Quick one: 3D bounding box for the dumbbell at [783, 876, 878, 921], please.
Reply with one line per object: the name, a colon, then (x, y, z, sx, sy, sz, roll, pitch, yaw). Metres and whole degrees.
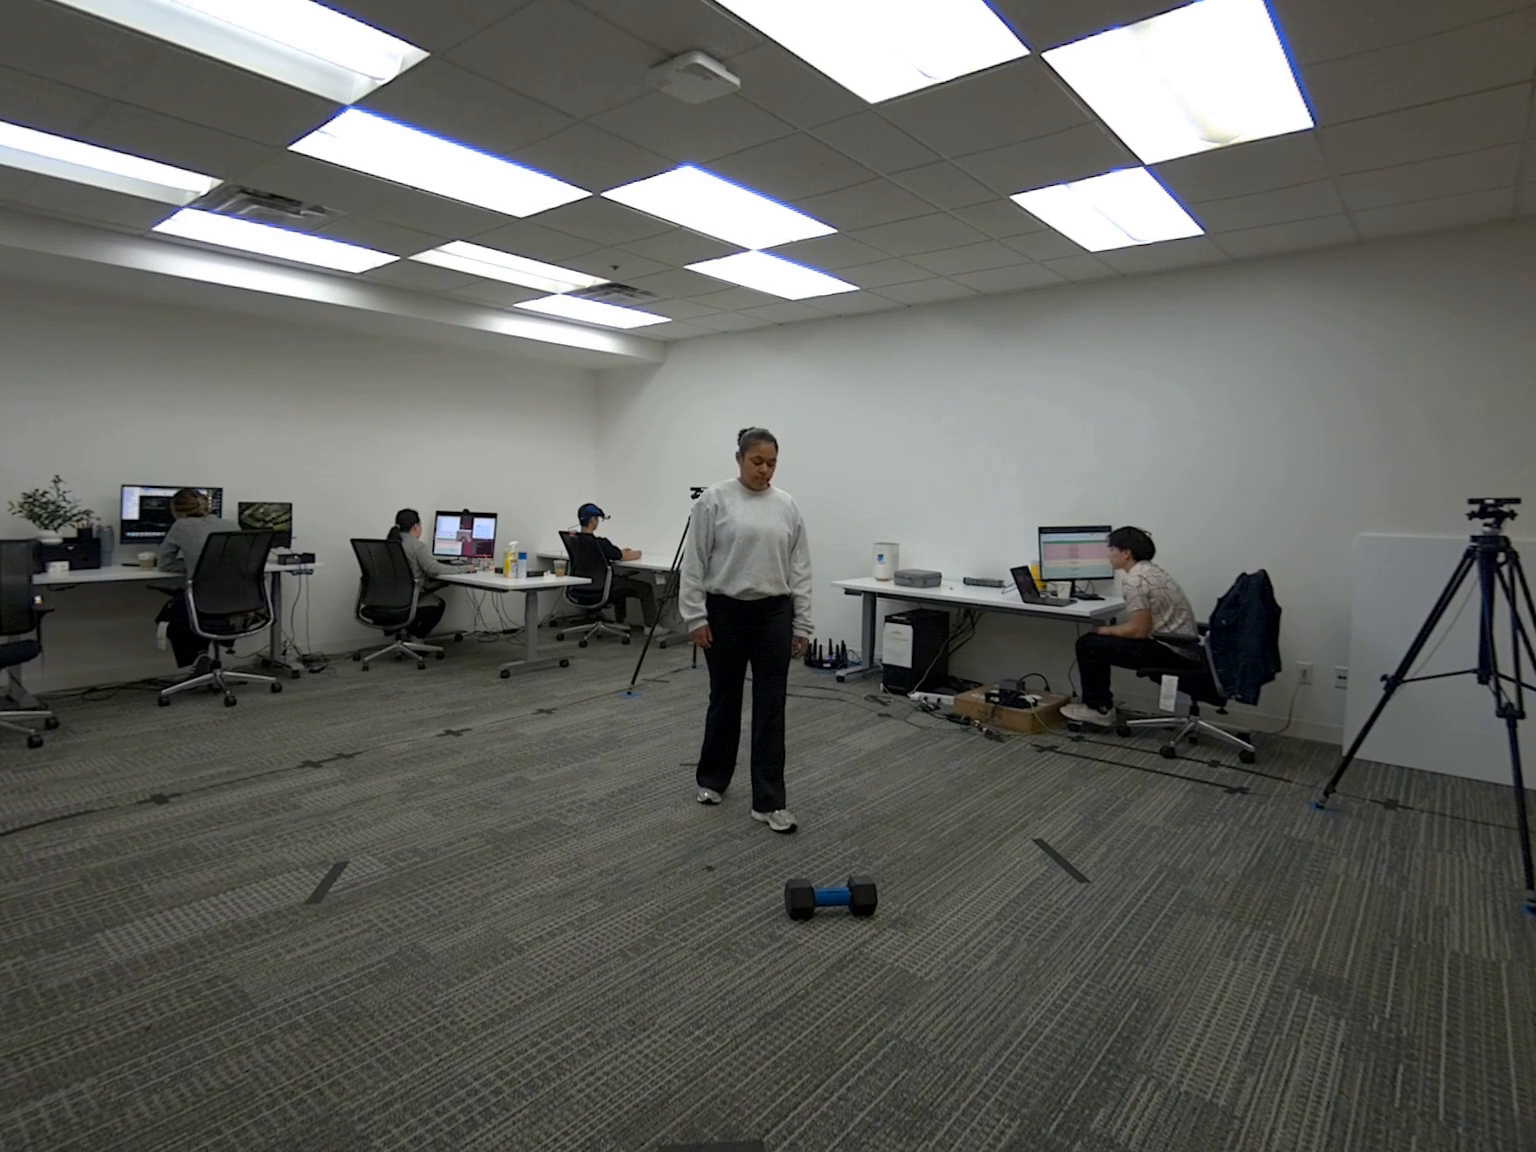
dumbbell: (0.201, 1.052, 2.798, 0.290, 0.120, 0.112, 0, 34, -10)
